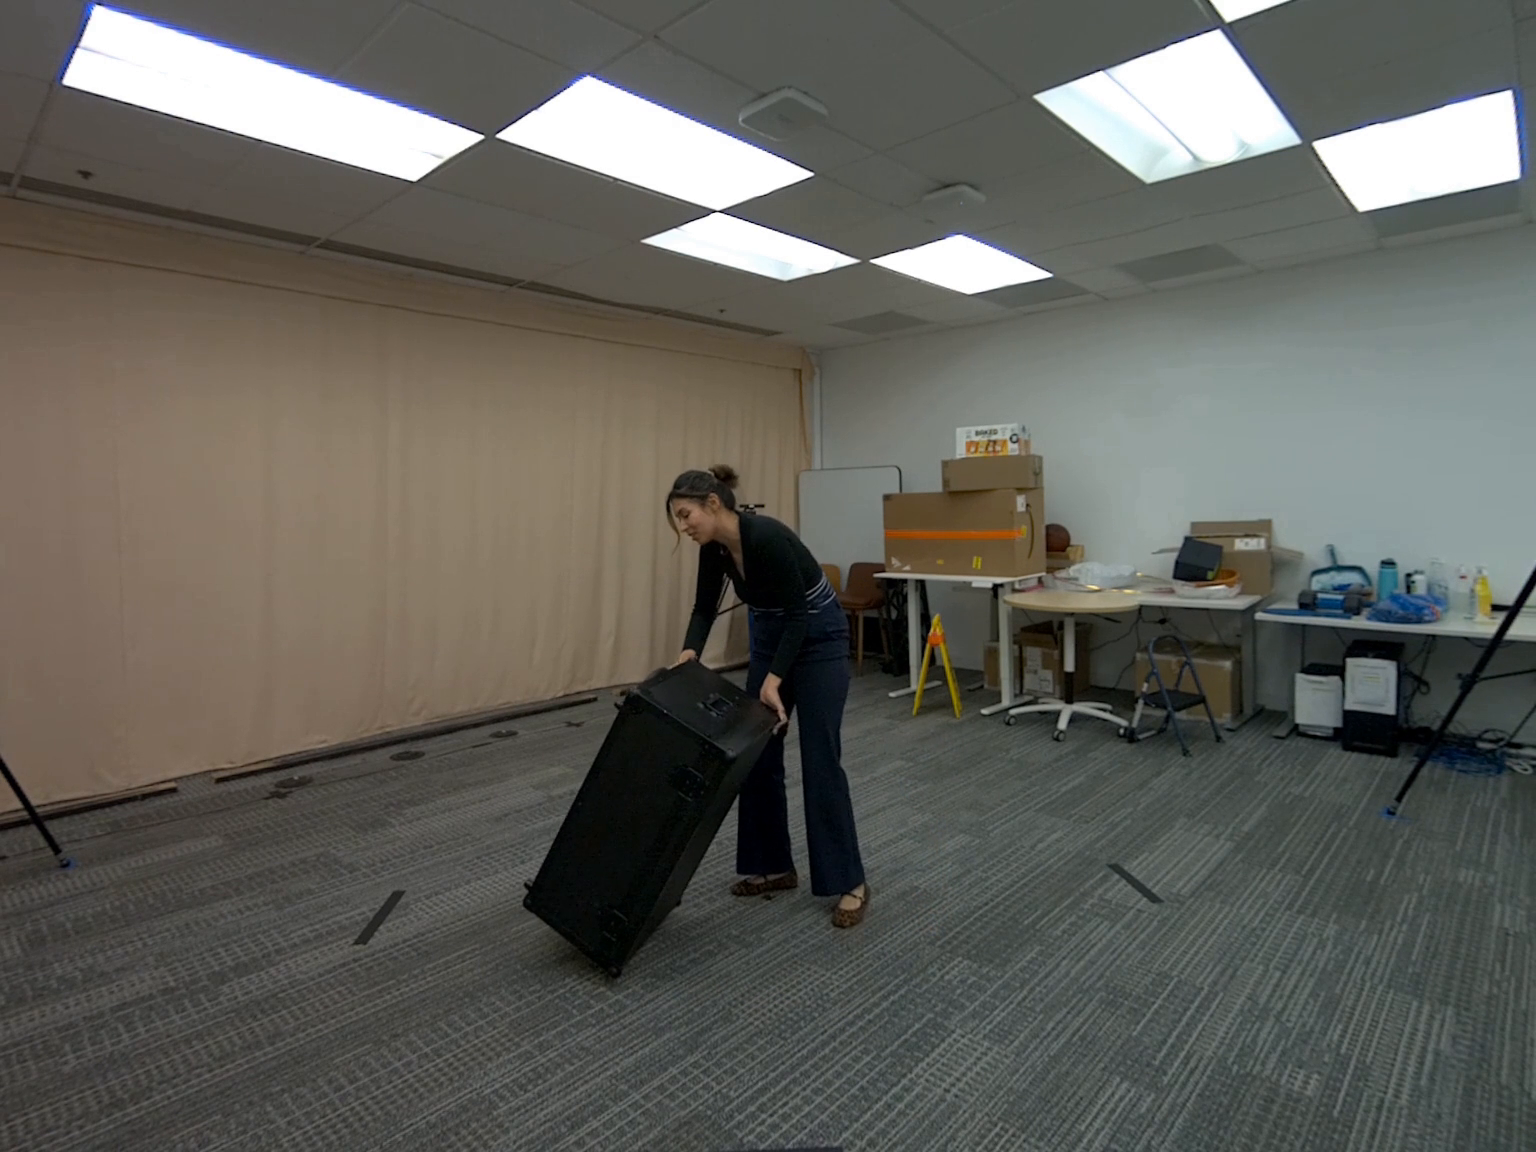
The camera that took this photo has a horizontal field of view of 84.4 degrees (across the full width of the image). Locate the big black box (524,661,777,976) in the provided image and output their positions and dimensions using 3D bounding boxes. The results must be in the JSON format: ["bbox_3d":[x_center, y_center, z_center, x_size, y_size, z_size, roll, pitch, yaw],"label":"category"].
[{"bbox_3d":[-0.376,0.746,2.620,0.404,0.860,0.512,29,11,14],"label":"big black box"}]
